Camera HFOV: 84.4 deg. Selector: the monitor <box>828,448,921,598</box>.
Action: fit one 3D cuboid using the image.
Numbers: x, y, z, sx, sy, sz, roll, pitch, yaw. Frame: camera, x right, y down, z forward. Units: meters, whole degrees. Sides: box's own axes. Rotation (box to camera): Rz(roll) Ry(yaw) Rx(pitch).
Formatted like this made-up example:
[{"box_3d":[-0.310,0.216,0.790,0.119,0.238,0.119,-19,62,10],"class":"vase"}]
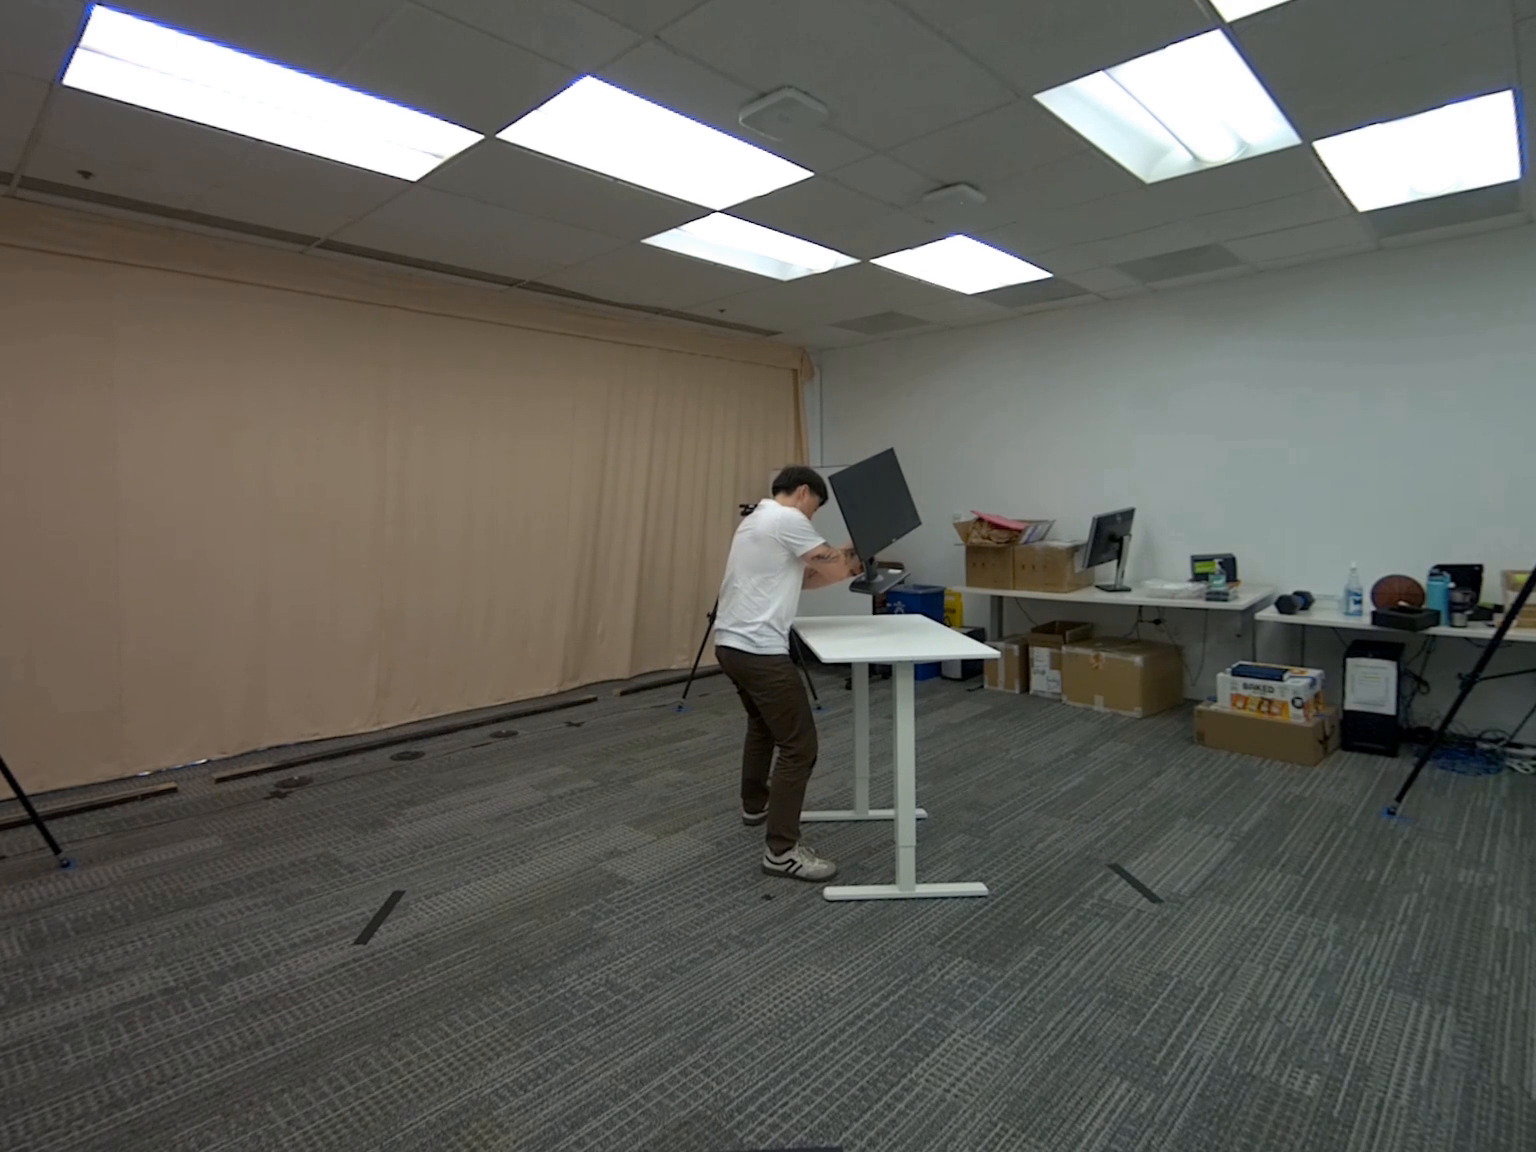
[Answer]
[{"box_3d":[0.433,-0.211,3.415,0.193,0.517,0.529,-2,16,35],"class":"monitor"}]
